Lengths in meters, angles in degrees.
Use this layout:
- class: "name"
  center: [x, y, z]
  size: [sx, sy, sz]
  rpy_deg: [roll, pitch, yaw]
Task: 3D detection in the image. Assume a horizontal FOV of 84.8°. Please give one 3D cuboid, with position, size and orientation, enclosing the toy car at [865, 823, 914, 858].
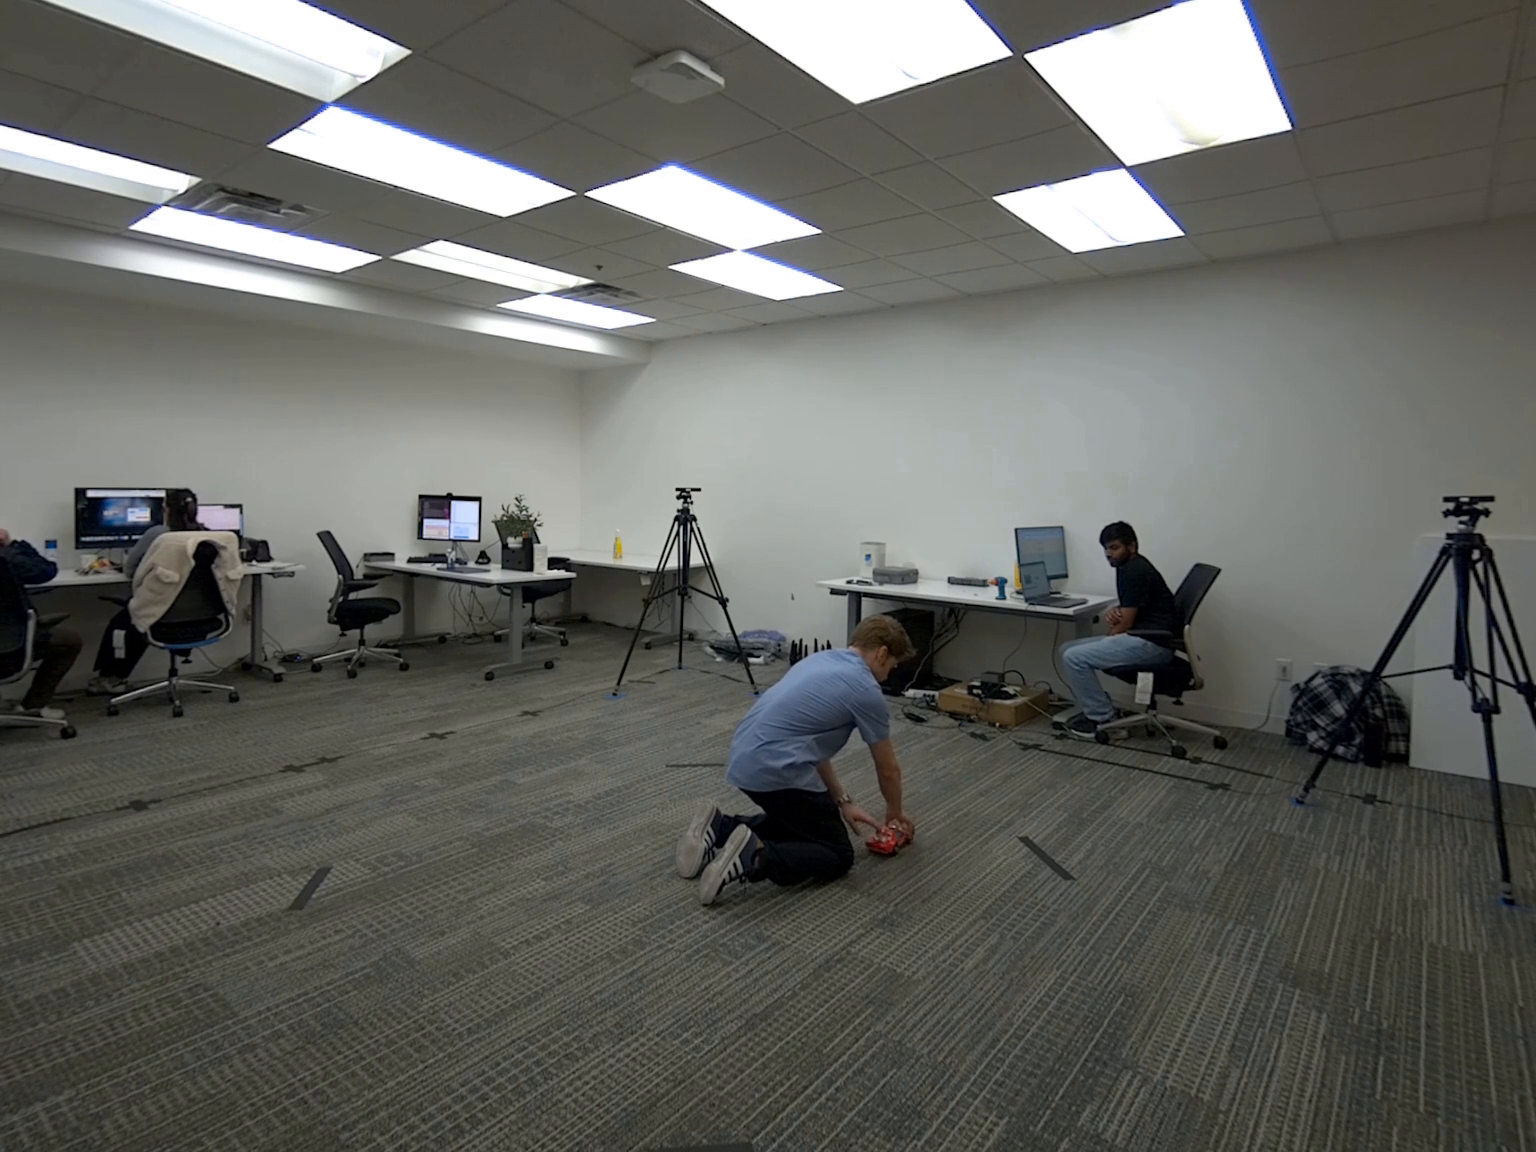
- class: "toy car"
  center: [0.466, 1.035, 3.321]
  size: [0.134, 0.084, 0.245]
  rpy_deg: [4, -7, 33]
